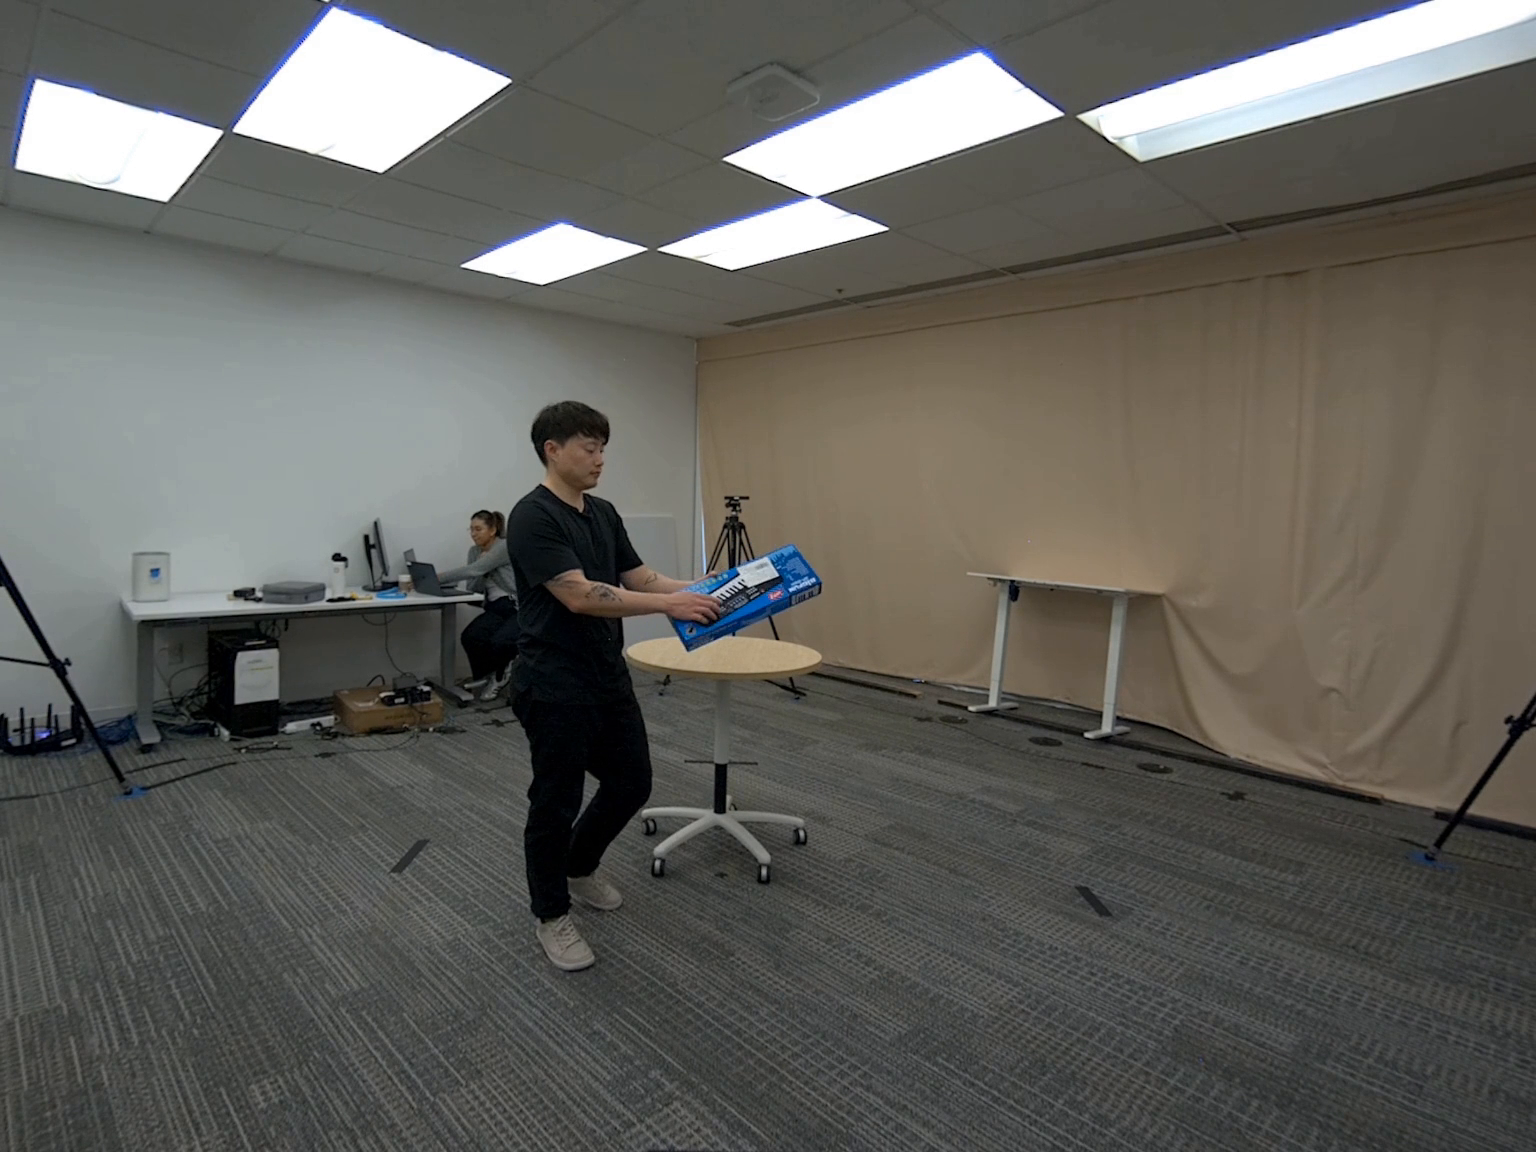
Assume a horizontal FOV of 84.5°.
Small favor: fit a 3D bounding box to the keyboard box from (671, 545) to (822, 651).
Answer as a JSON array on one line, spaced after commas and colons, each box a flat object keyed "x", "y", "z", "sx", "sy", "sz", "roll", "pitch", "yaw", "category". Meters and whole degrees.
[{"x": -0.078, "y": 0.058, "z": 2.444, "sx": 0.433, "sy": 0.058, "sz": 0.181, "roll": -24, "pitch": 54, "yaw": -18, "category": "keyboard box"}]
